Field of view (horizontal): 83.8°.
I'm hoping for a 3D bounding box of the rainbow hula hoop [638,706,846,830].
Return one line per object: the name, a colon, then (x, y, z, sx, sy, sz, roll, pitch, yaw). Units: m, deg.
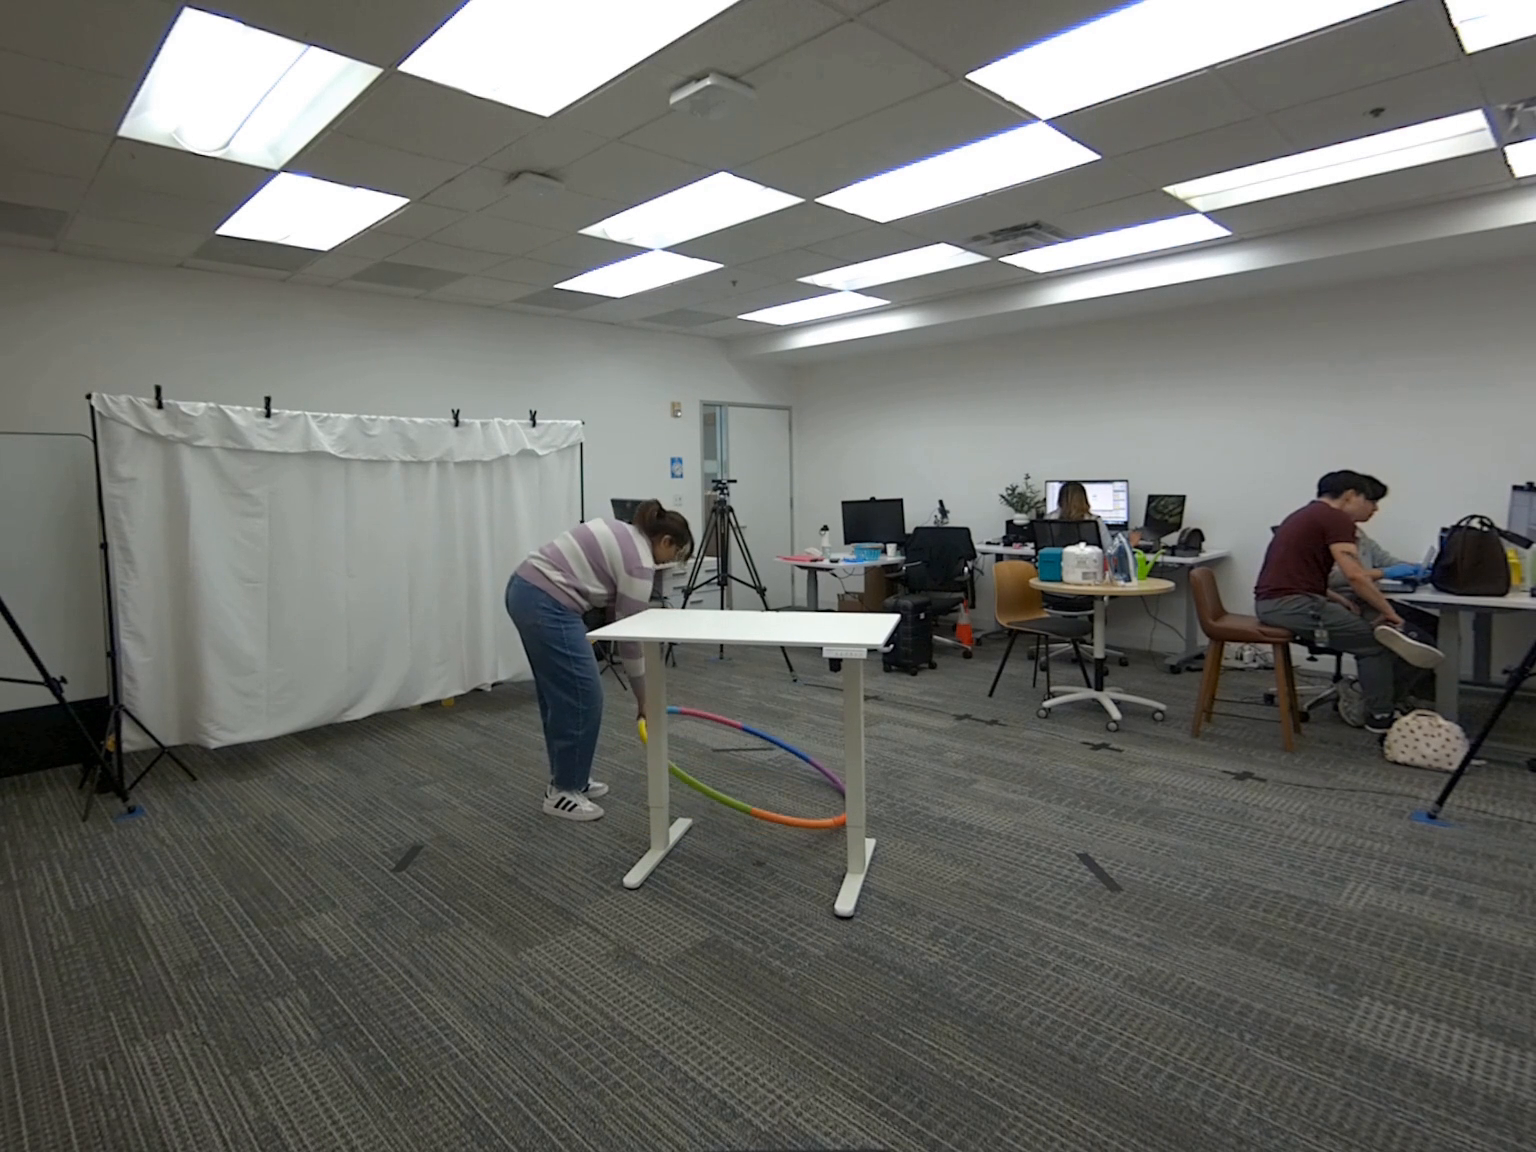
rainbow hula hoop: (-0.081, 0.800, 3.684, 0.975, 0.035, 0.986, 19, 7, -4)
